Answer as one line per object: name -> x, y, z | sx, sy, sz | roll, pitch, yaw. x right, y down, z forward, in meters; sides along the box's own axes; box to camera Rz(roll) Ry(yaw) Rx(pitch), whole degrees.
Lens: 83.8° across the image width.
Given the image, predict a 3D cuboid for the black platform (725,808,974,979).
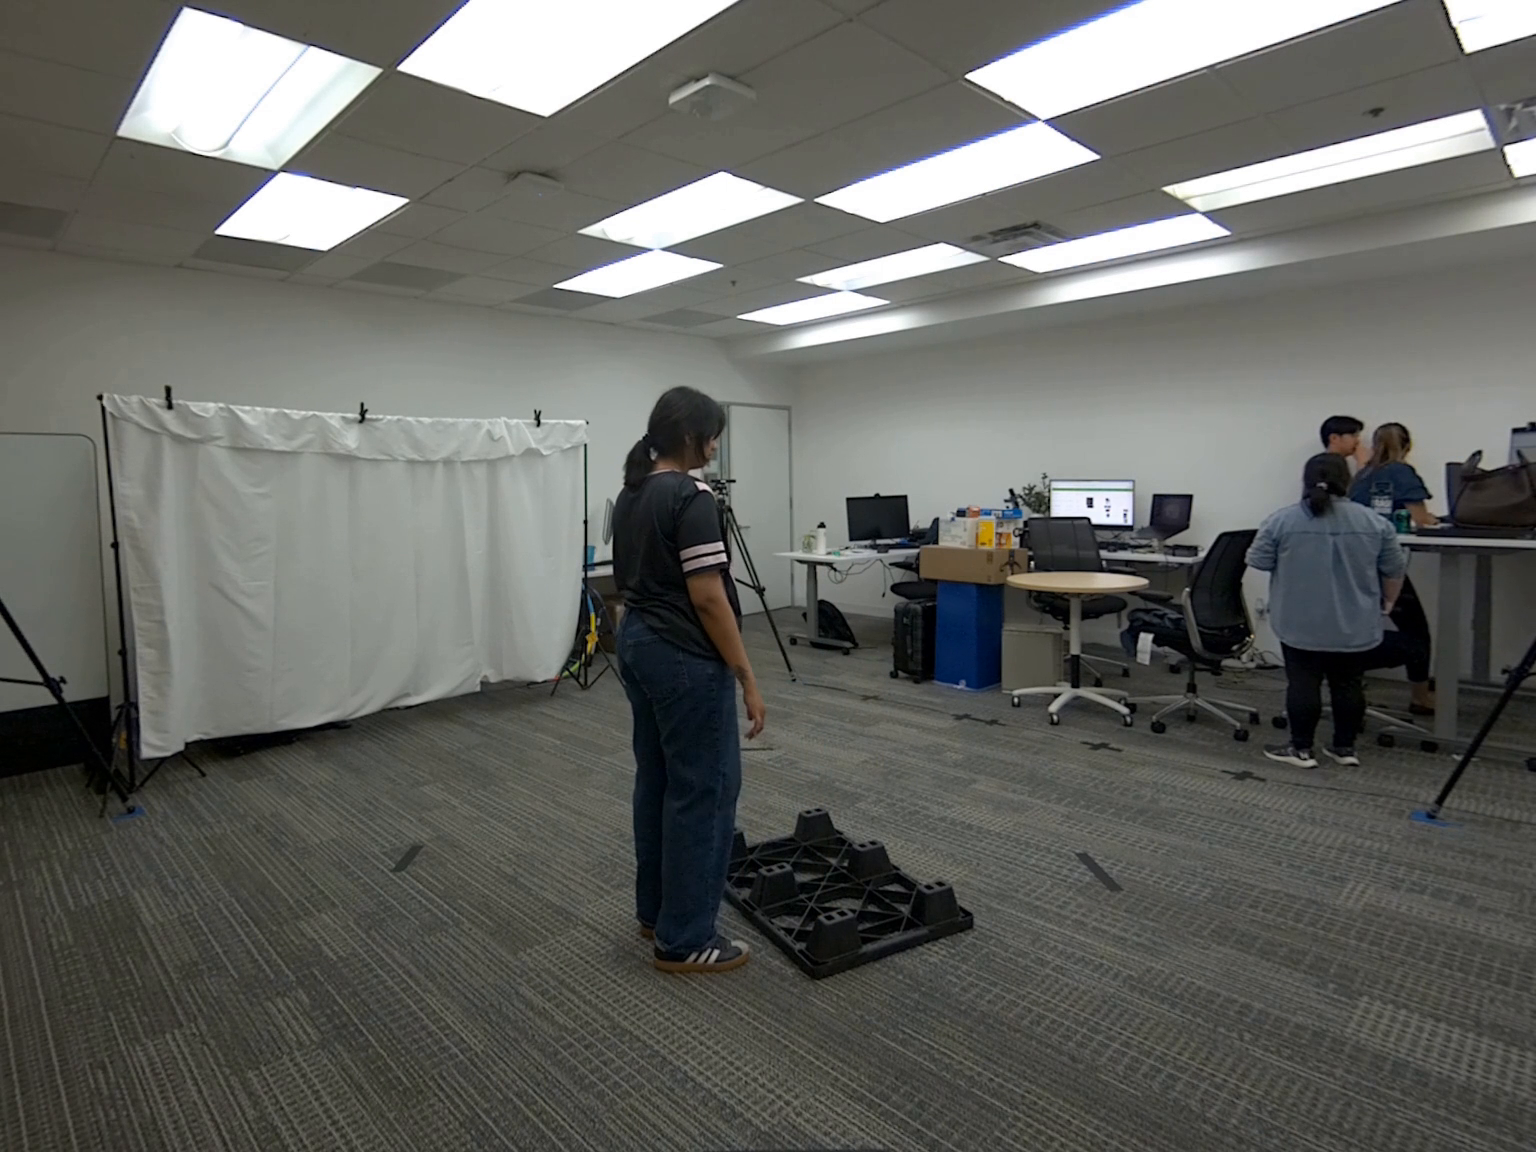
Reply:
black platform -> 0.183, 1.006, 2.864 | 0.591, 0.143, 0.828 | -4, 7, -29
